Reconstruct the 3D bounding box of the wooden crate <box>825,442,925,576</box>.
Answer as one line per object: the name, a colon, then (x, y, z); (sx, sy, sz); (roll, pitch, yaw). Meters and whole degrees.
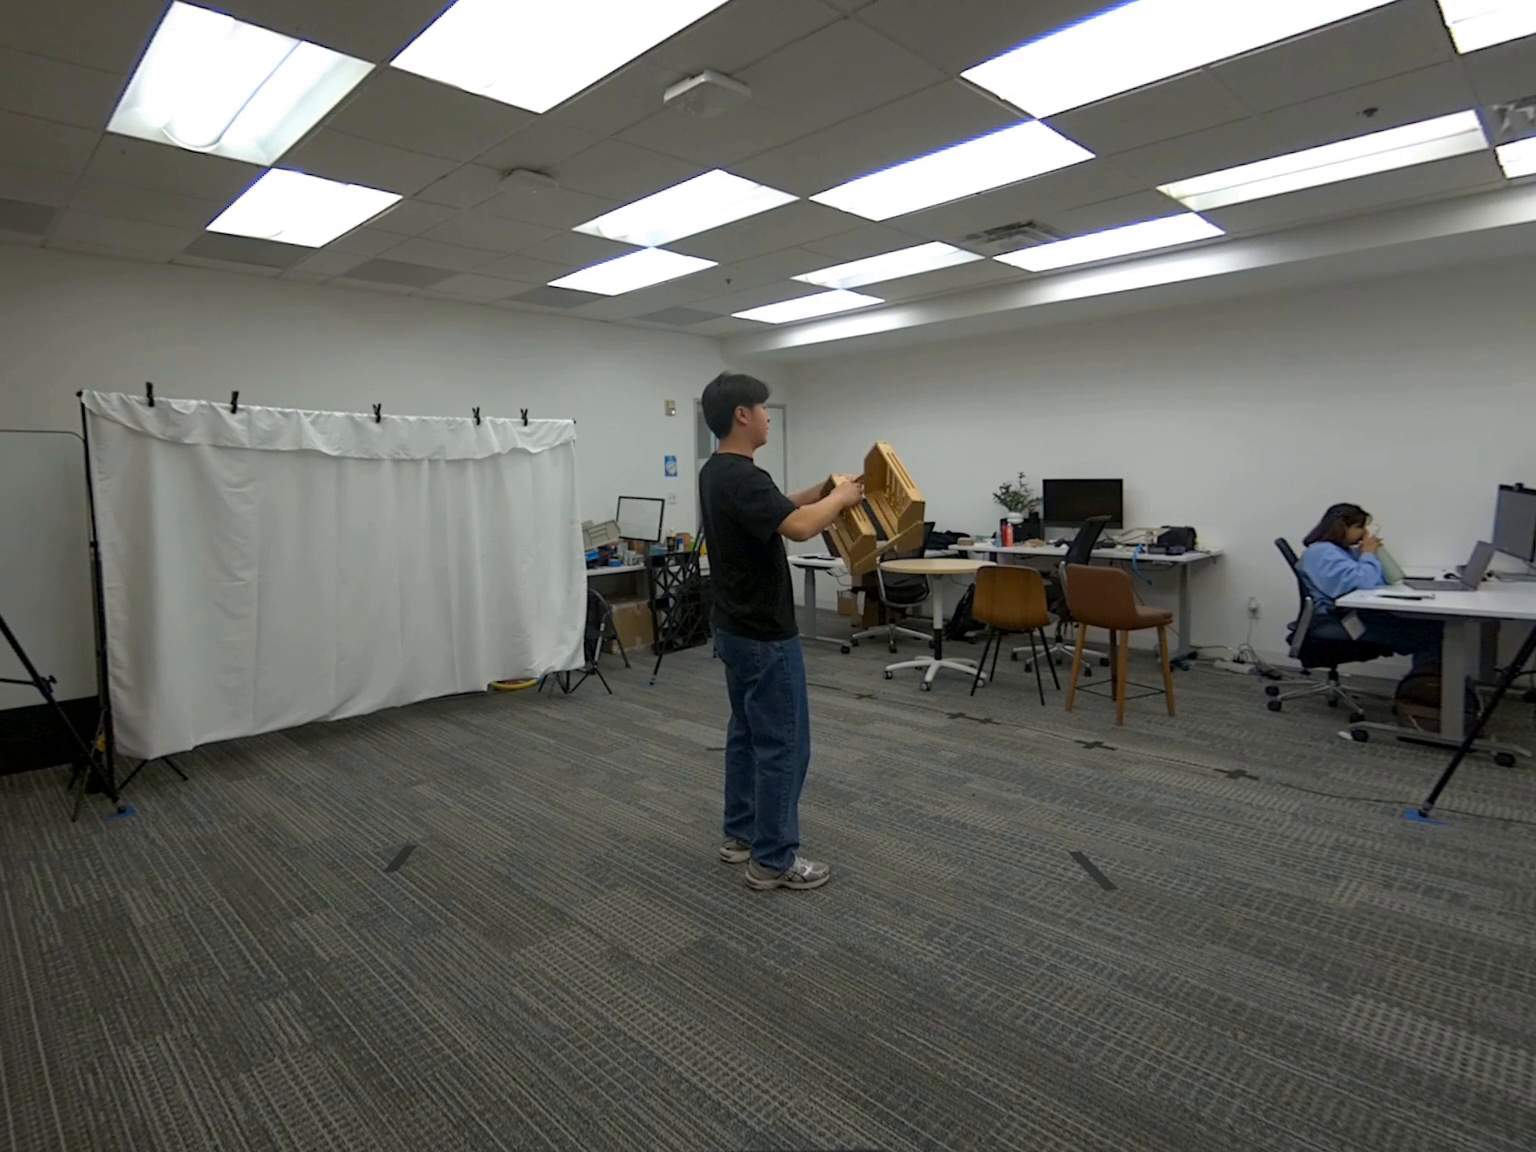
wooden crate: (0.345, -0.235, 2.948); (0.272, 0.336, 0.292); (-17, -40, -5)
